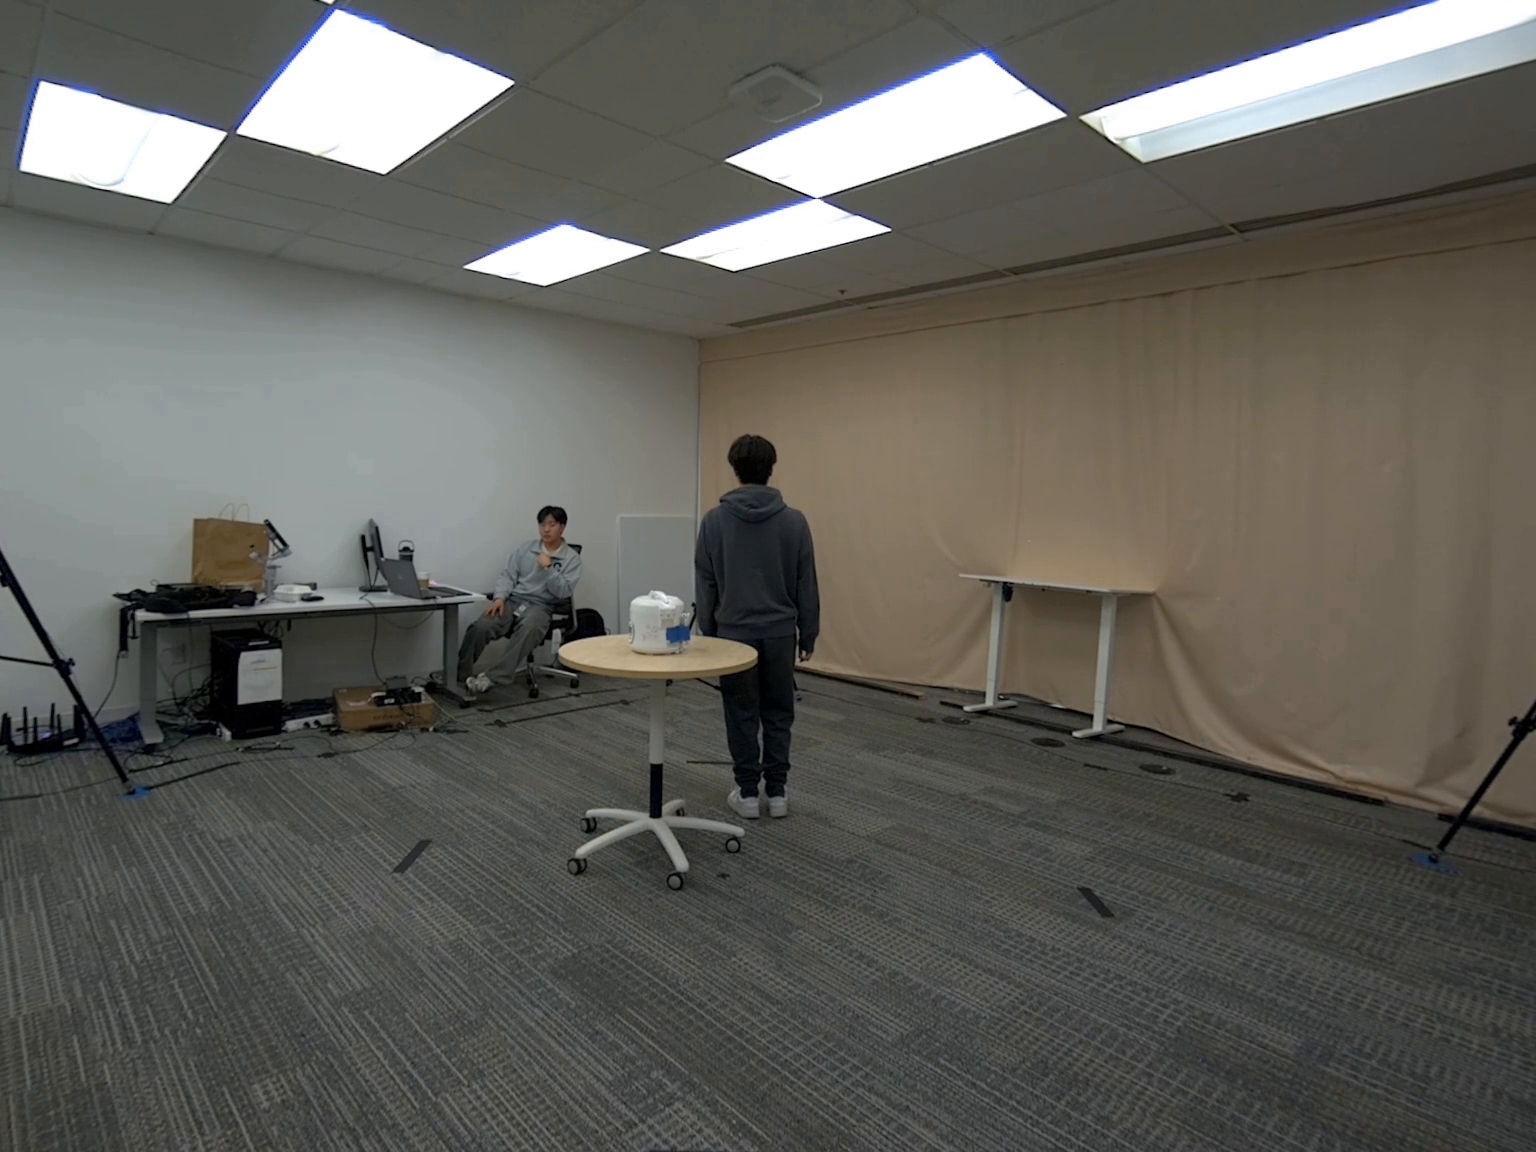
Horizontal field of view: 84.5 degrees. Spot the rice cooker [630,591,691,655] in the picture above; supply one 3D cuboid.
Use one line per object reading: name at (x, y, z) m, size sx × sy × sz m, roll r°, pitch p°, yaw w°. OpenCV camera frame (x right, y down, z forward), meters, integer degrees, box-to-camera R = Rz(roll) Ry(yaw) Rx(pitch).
rice cooker at (-0.433, 0.175, 3.233) m, size 0.213 × 0.232 × 0.225 m, roll 1°, pitch 4°, yaw -28°
